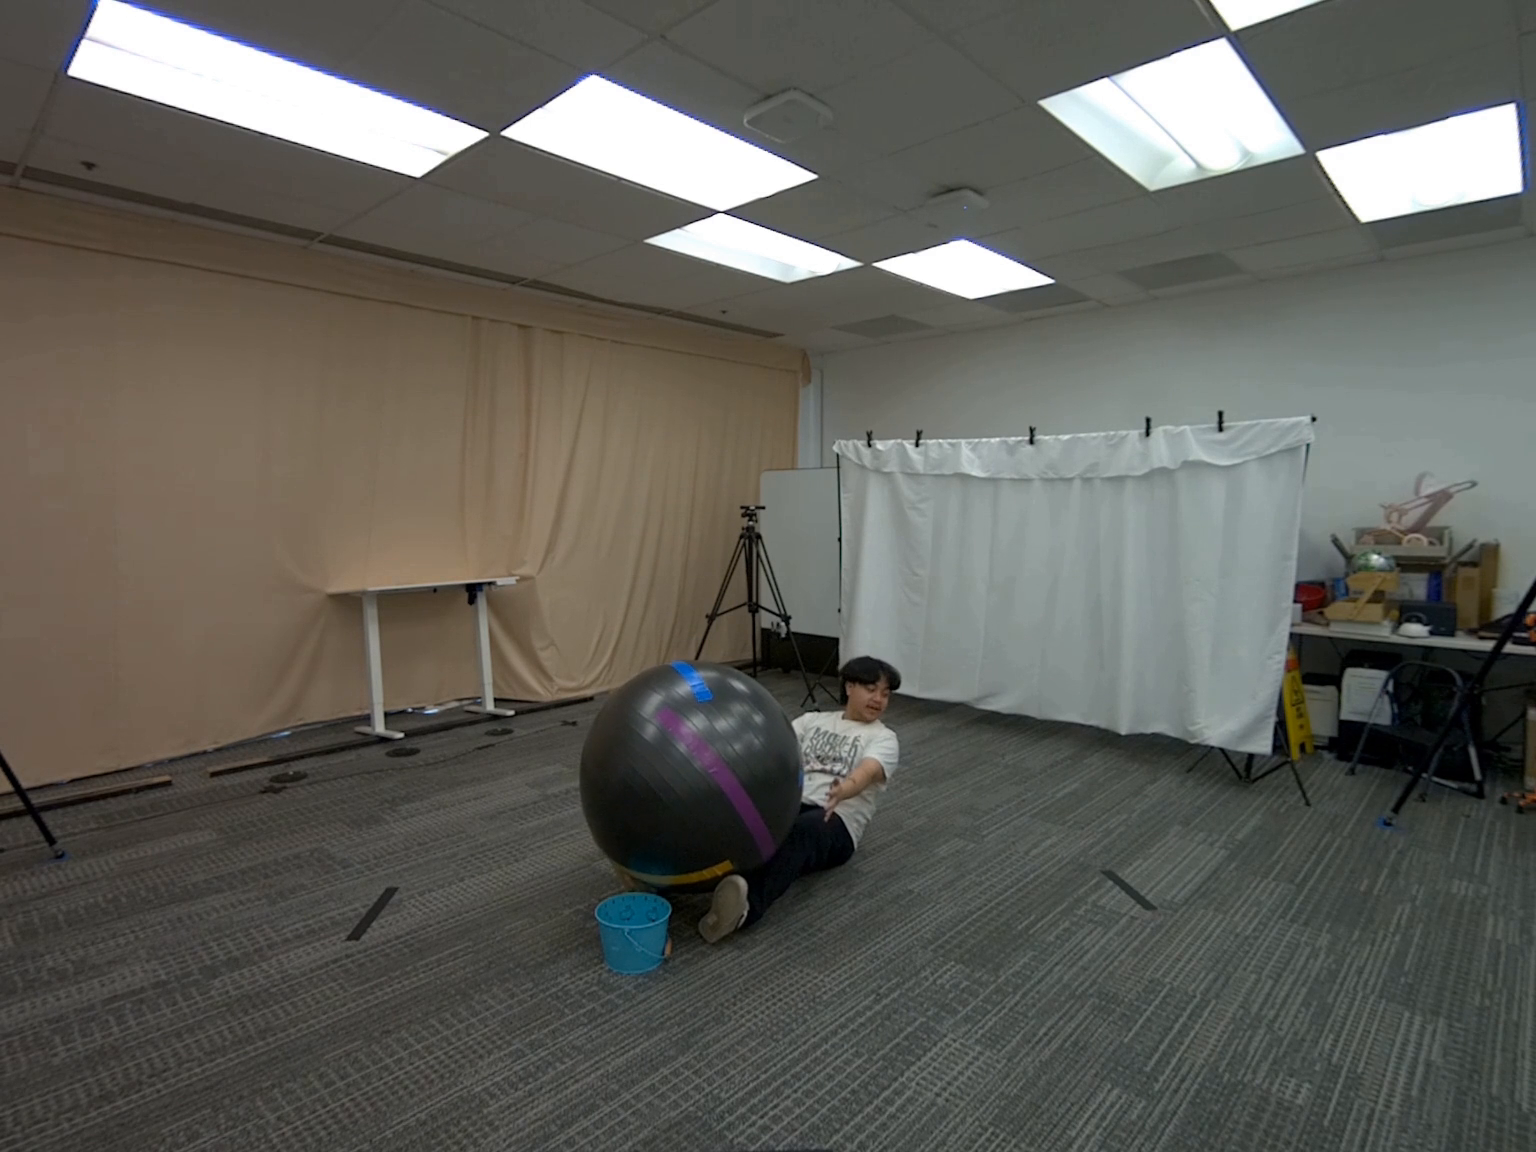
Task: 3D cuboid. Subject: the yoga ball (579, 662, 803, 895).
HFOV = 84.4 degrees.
[{"bbox_3d":[-0.259,0.666,2.856,0.757,0.756,0.760,0,4,-2],"label":"yoga ball"}]
